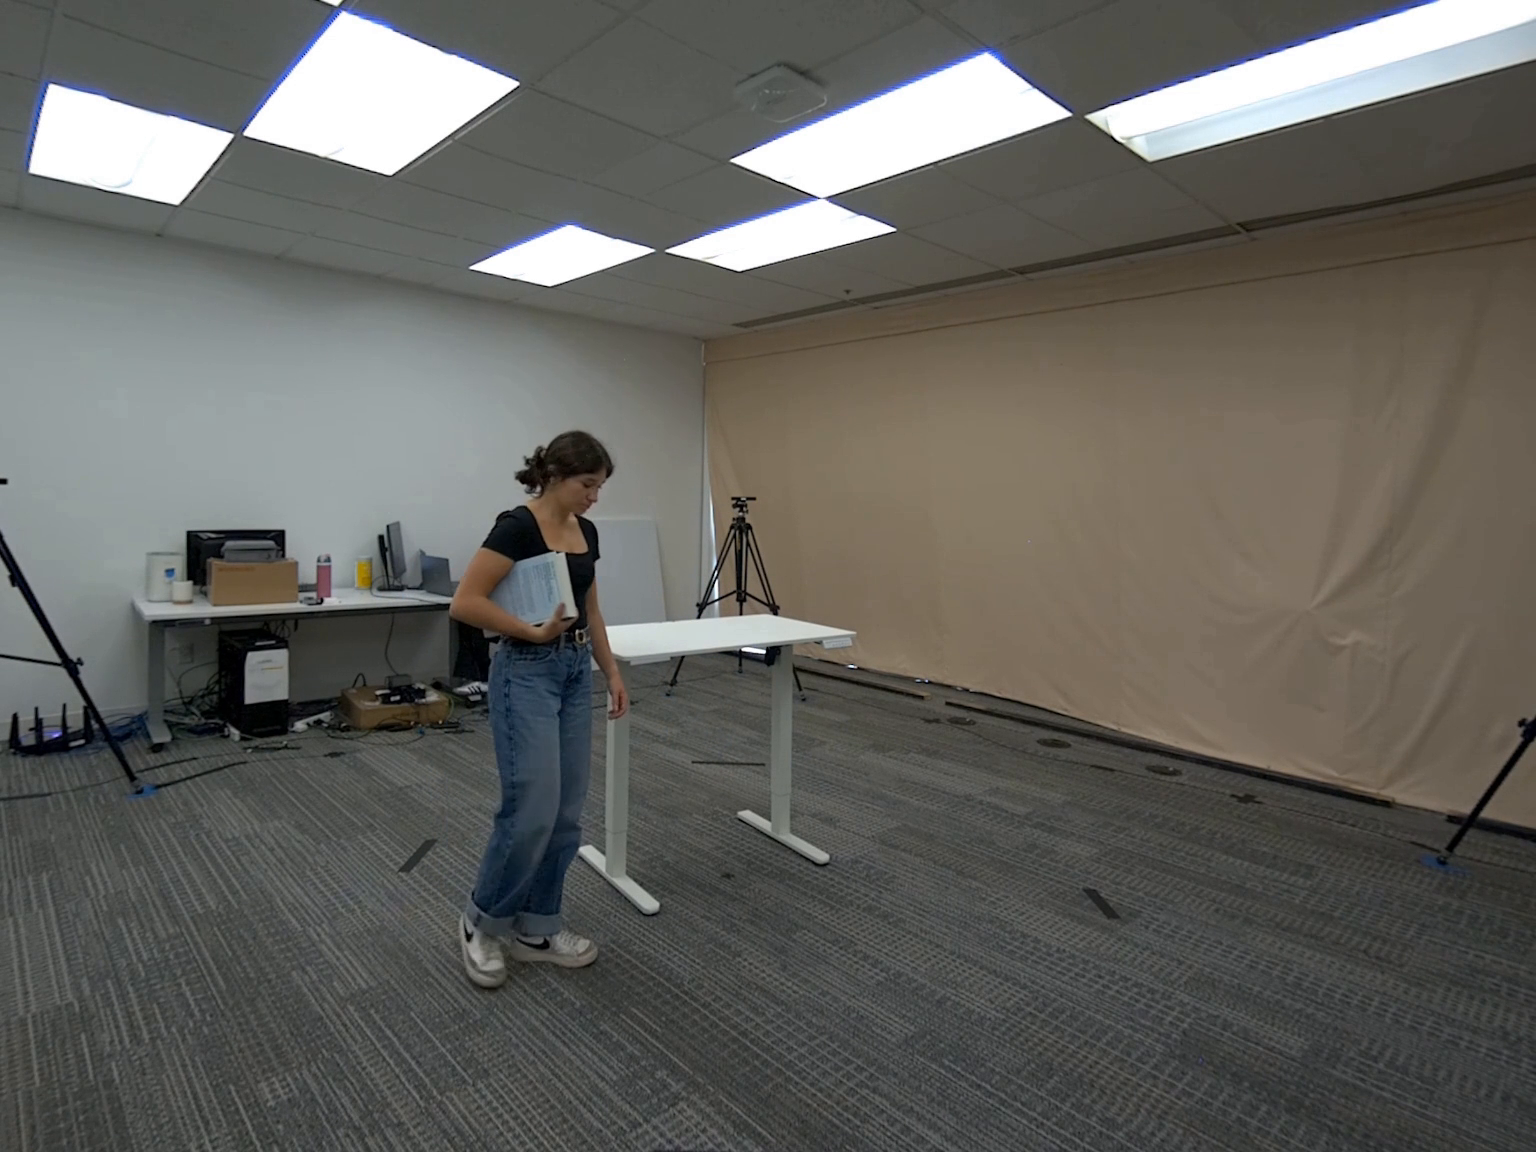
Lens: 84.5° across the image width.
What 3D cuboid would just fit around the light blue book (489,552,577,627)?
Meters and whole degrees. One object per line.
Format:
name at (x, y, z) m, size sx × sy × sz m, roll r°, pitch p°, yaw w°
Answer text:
light blue book at (-0.707, 0.054, 2.344) m, size 0.261 × 0.193 × 0.058 m, roll -16°, pitch -9°, yaw 4°
